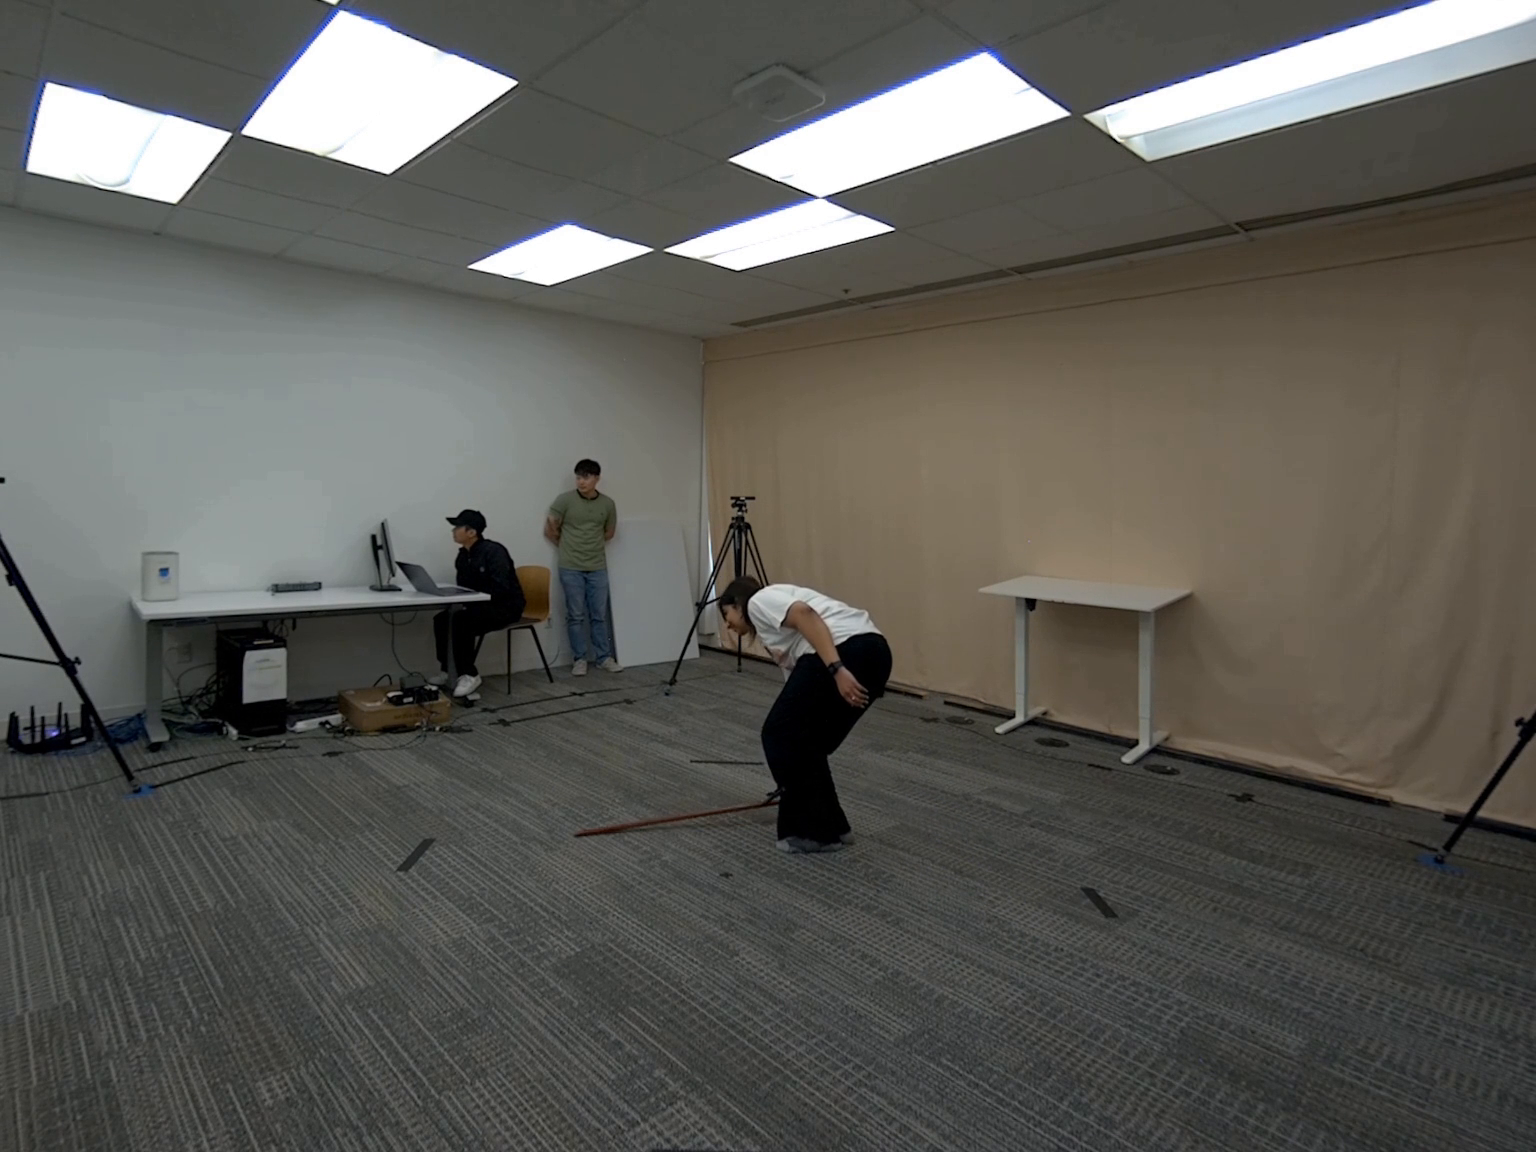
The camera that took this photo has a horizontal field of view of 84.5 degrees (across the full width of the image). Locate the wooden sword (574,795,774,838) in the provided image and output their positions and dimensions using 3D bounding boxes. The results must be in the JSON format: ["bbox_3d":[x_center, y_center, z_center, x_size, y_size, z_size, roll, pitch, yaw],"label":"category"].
[{"bbox_3d":[-0.318,1.011,3.553,1.013,0.024,0.051,-5,-27,-15],"label":"wooden sword"}]
